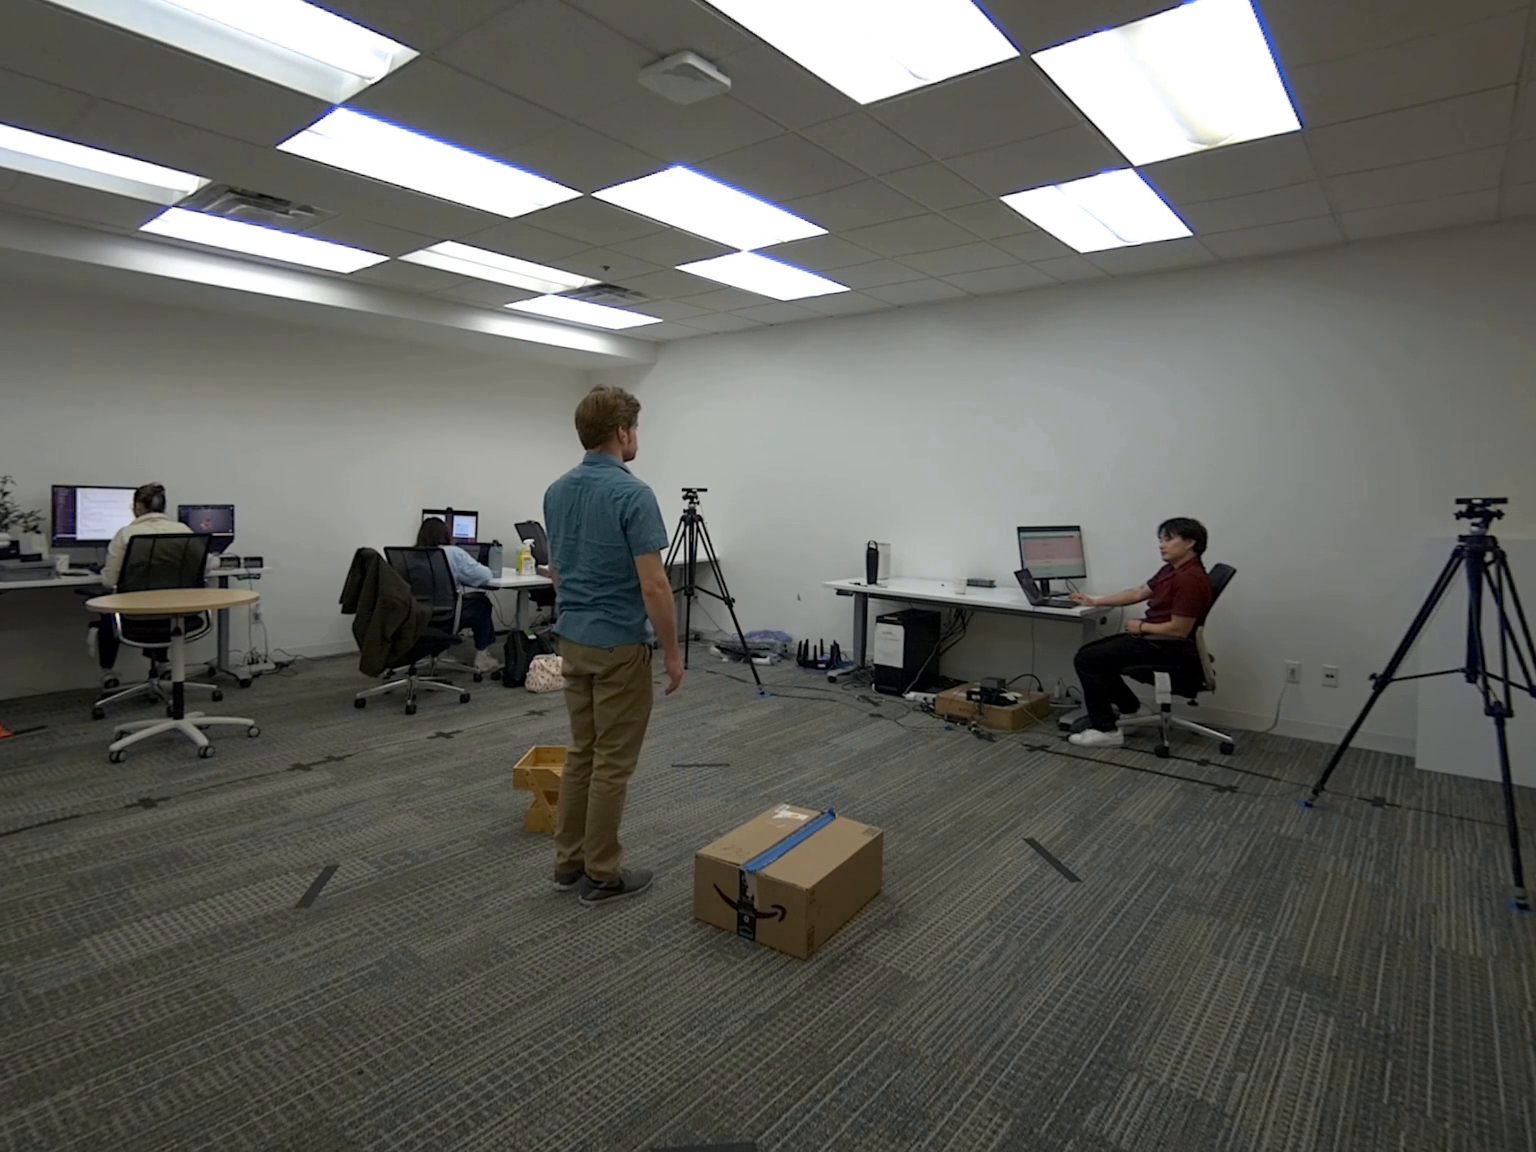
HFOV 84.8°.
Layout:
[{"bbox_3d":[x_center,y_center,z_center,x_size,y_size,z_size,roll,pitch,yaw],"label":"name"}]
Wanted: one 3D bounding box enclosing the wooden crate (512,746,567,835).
[{"bbox_3d":[-0.884,0.879,3.565,0.303,0.272,0.325,1,4,1],"label":"wooden crate"}]
